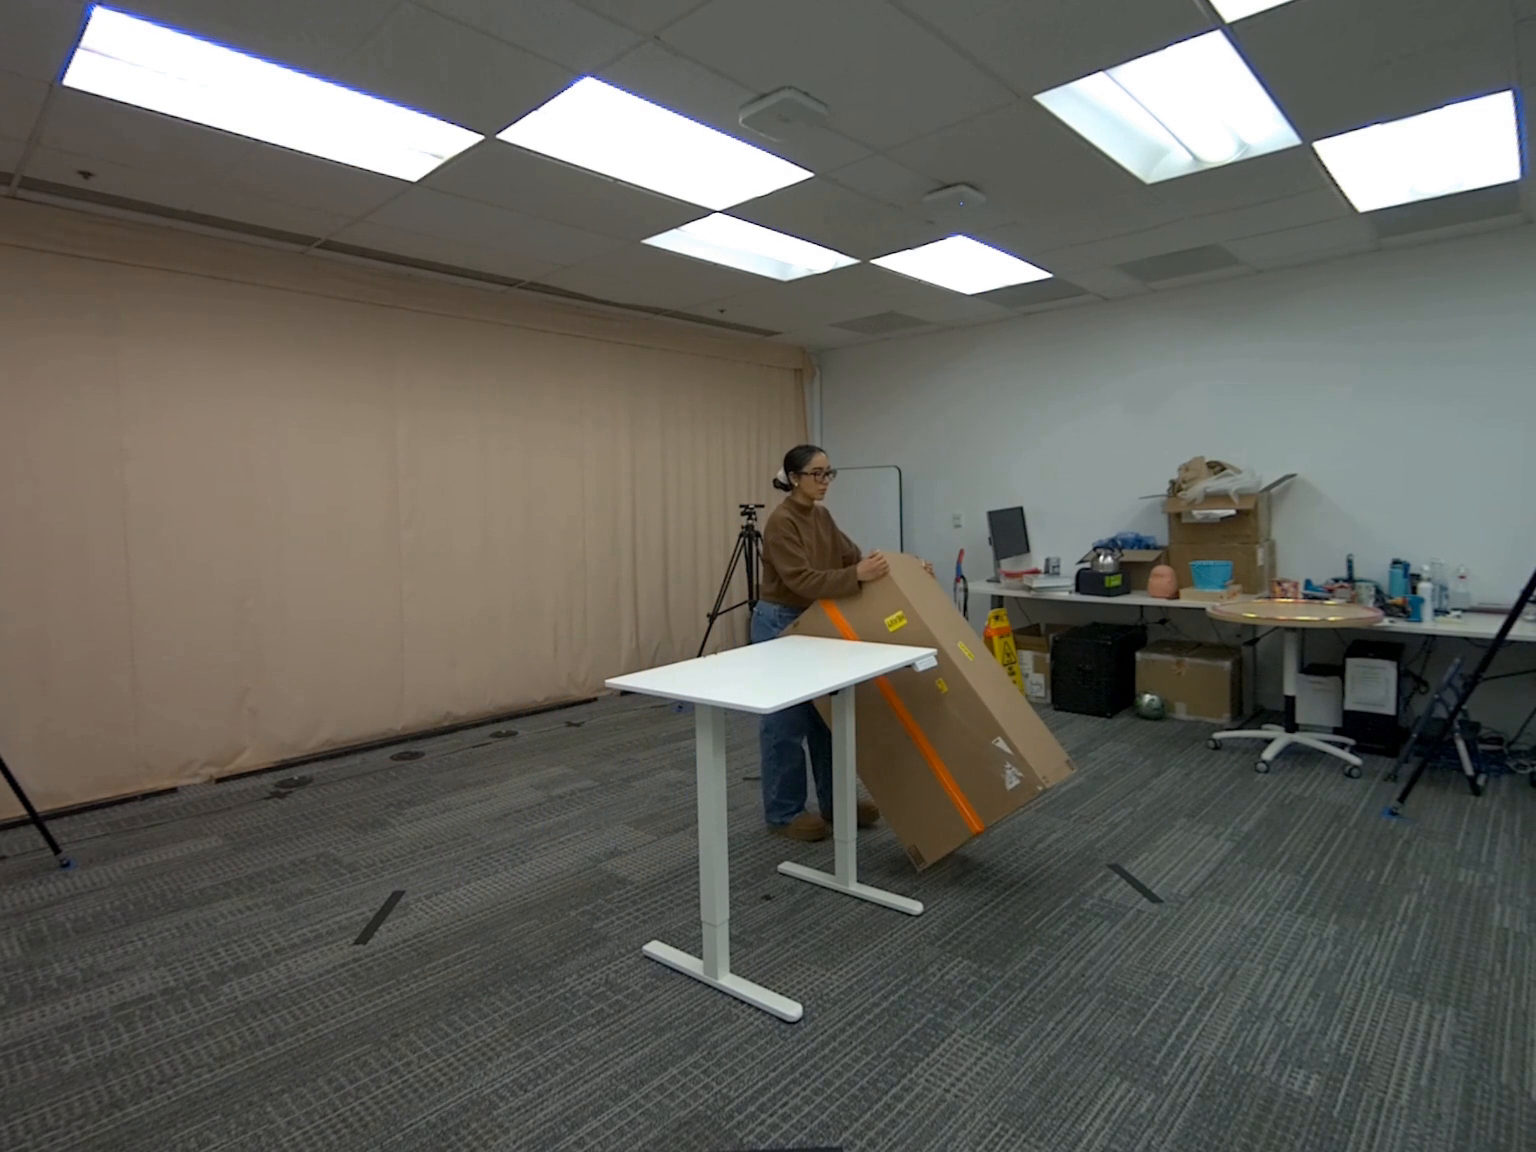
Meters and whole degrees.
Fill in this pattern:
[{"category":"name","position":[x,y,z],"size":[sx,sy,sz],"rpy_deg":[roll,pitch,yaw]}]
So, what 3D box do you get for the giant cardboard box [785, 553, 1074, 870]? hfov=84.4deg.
[{"category":"giant cardboard box","position":[0.591,0.492,3.262],"size":[0.582,1.051,0.413],"rpy_deg":[-45,-26,25]}]
